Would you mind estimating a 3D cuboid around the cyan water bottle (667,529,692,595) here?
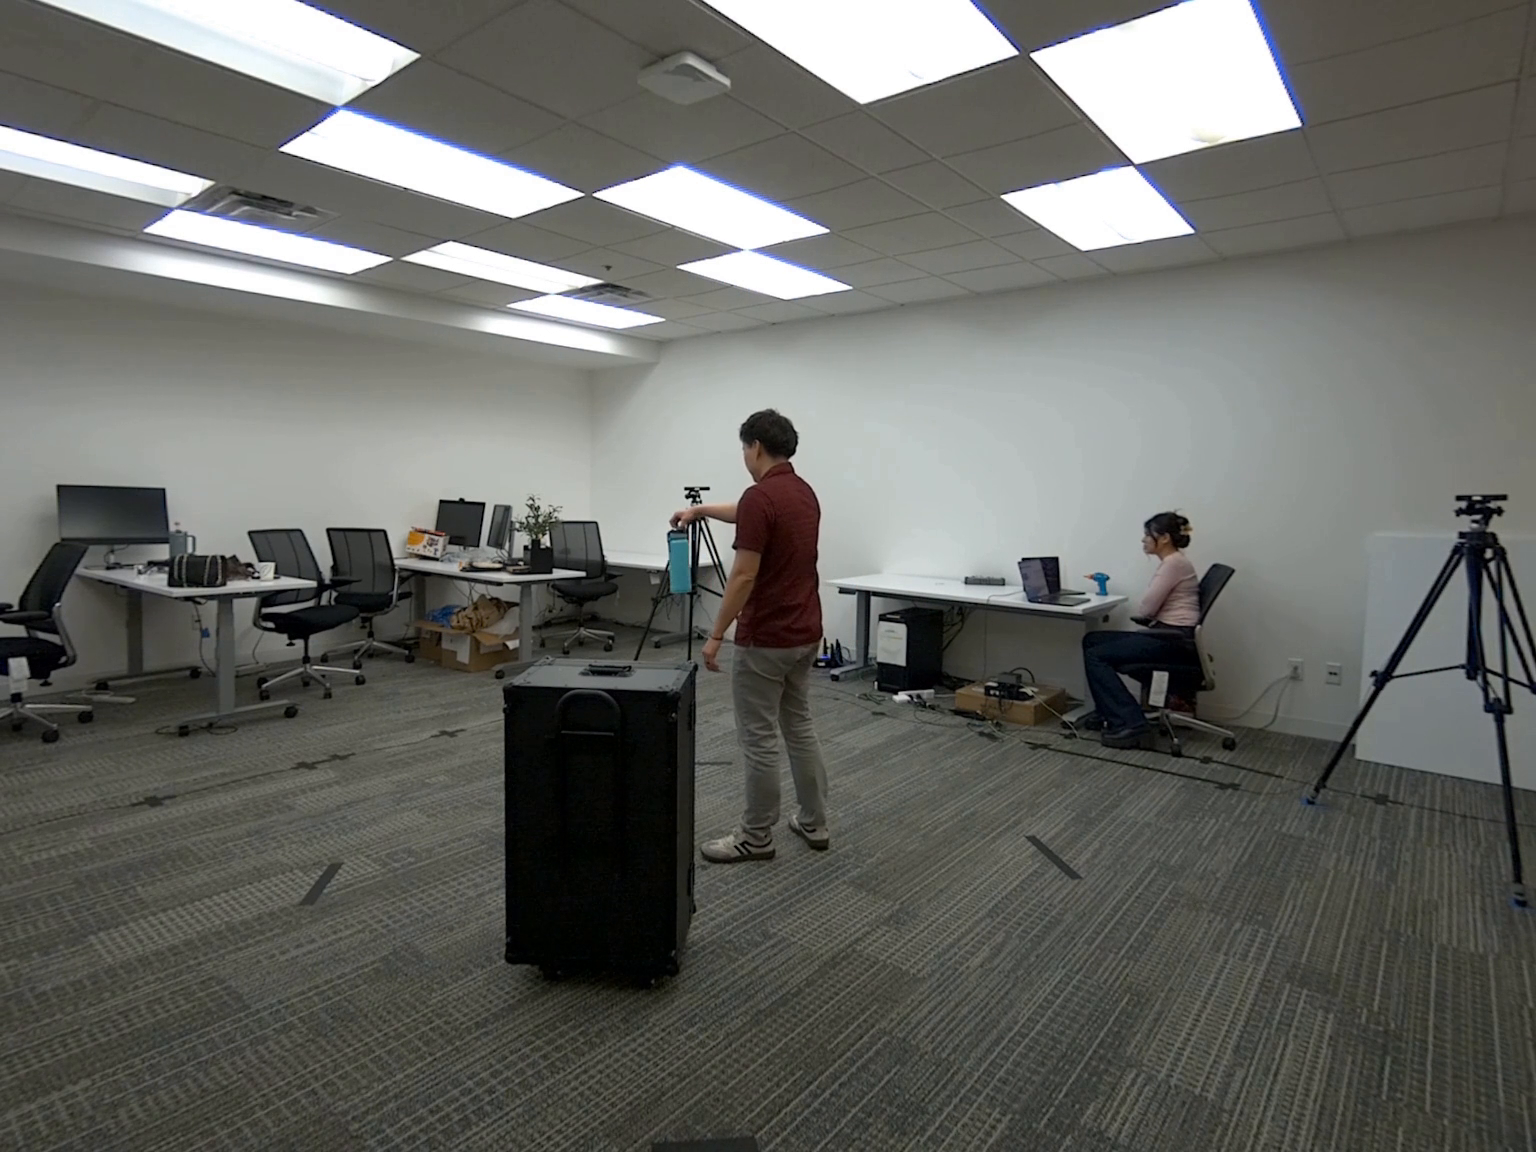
[{"bbox_3d":[-0.396,-0.075,3.655,0.092,0.283,0.092,-2,0,-2],"label":"cyan water bottle"}]
